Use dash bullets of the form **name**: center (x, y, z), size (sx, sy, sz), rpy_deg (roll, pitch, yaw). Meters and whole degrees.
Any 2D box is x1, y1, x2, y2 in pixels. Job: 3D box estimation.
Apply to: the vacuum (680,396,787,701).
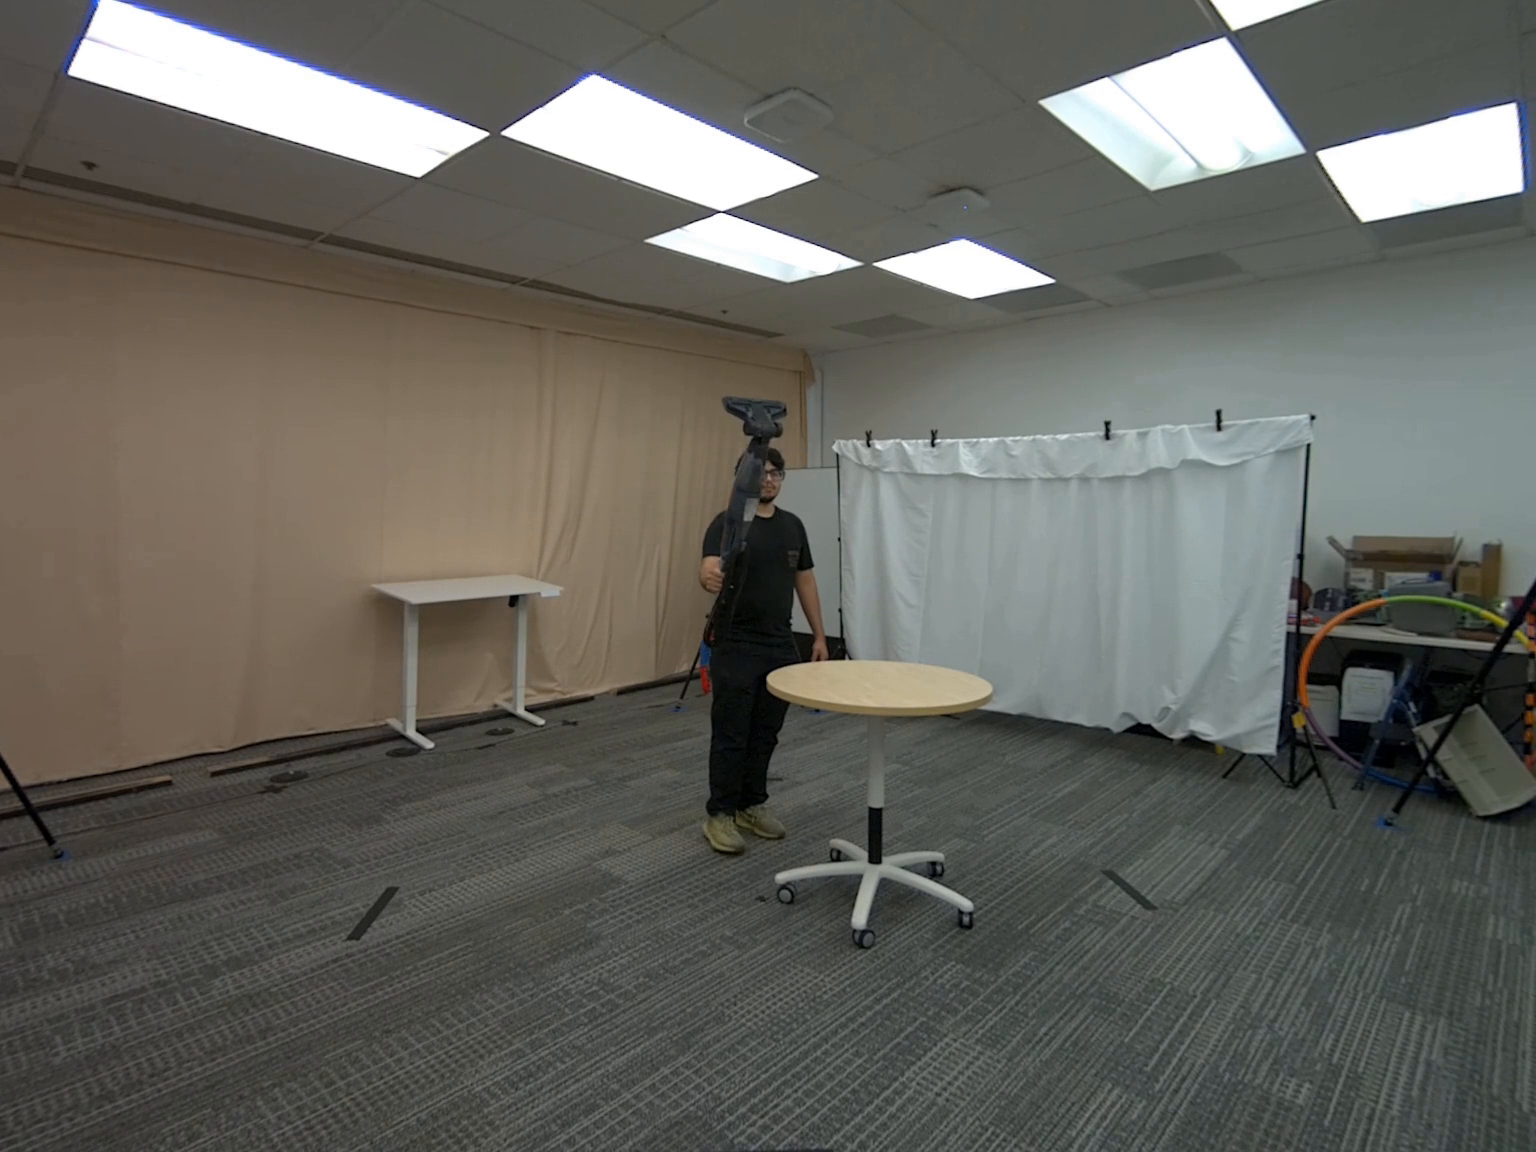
- **vacuum**: center (-0.127, -0.064, 2.994), size (0.246, 1.042, 0.149), rpy_deg (1, 20, -29)
